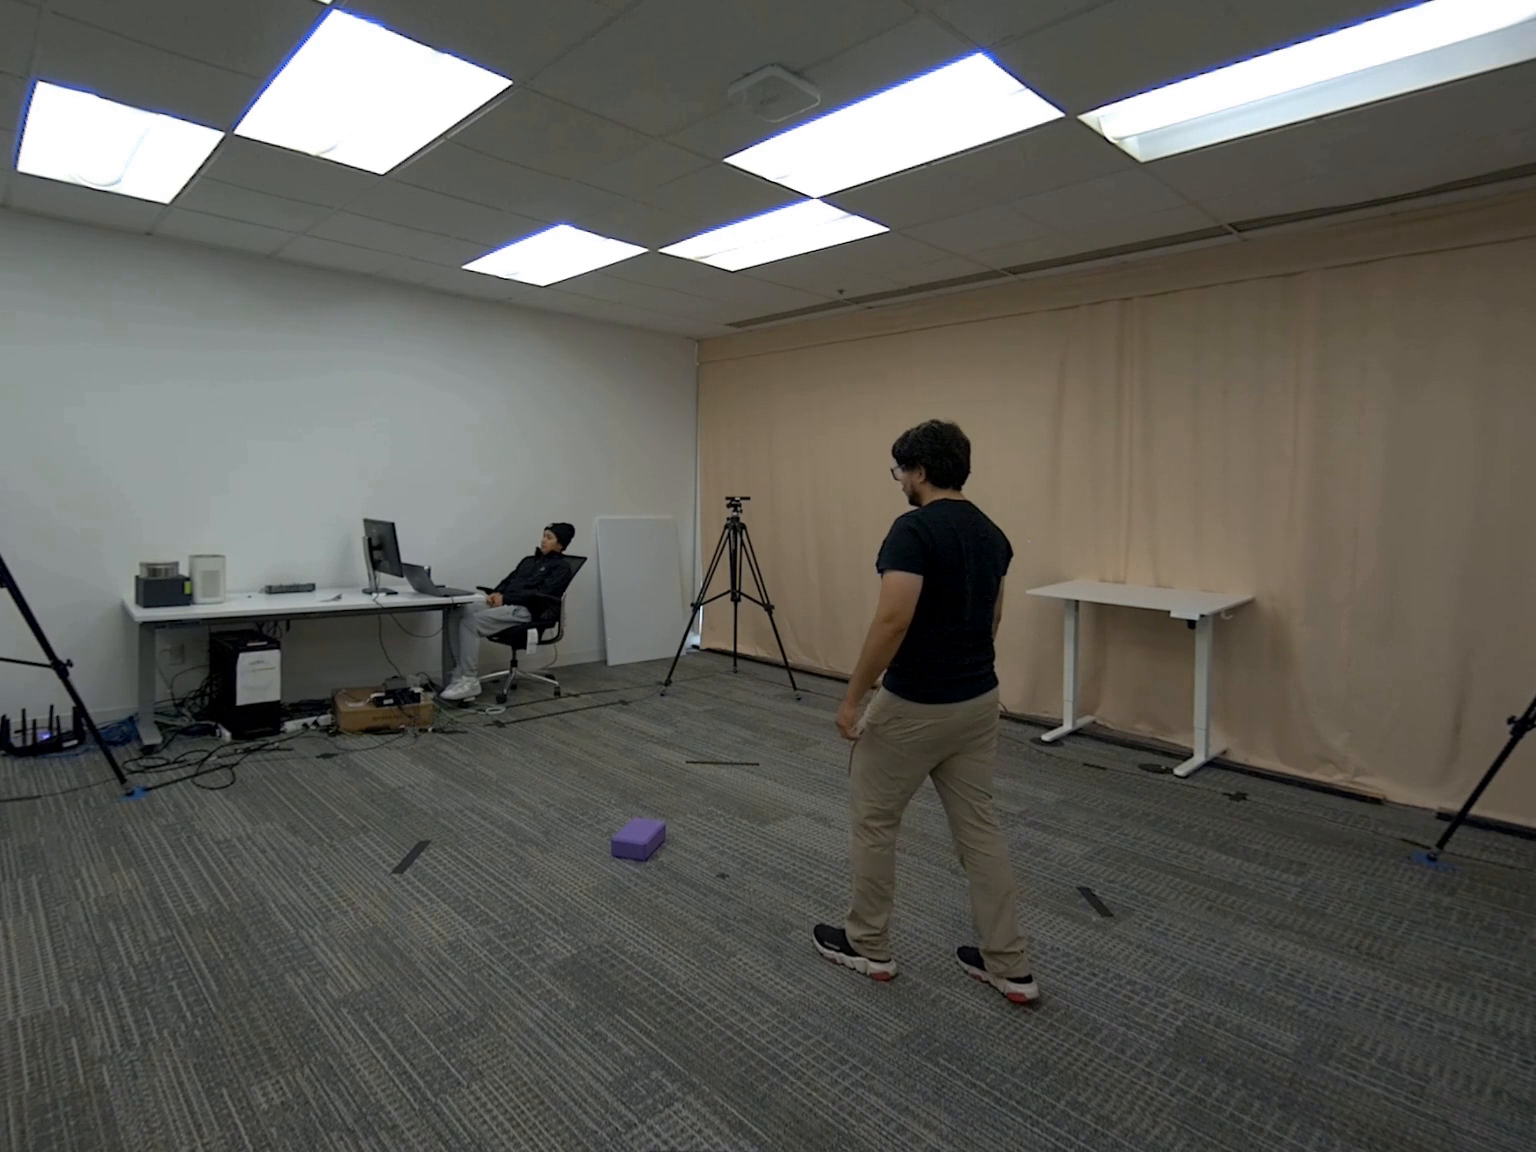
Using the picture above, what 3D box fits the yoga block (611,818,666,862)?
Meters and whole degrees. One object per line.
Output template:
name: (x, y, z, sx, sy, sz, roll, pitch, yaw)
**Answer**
yoga block: (-0.517, 1.036, 3.328, 0.151, 0.076, 0.227, 4, 4, 14)
